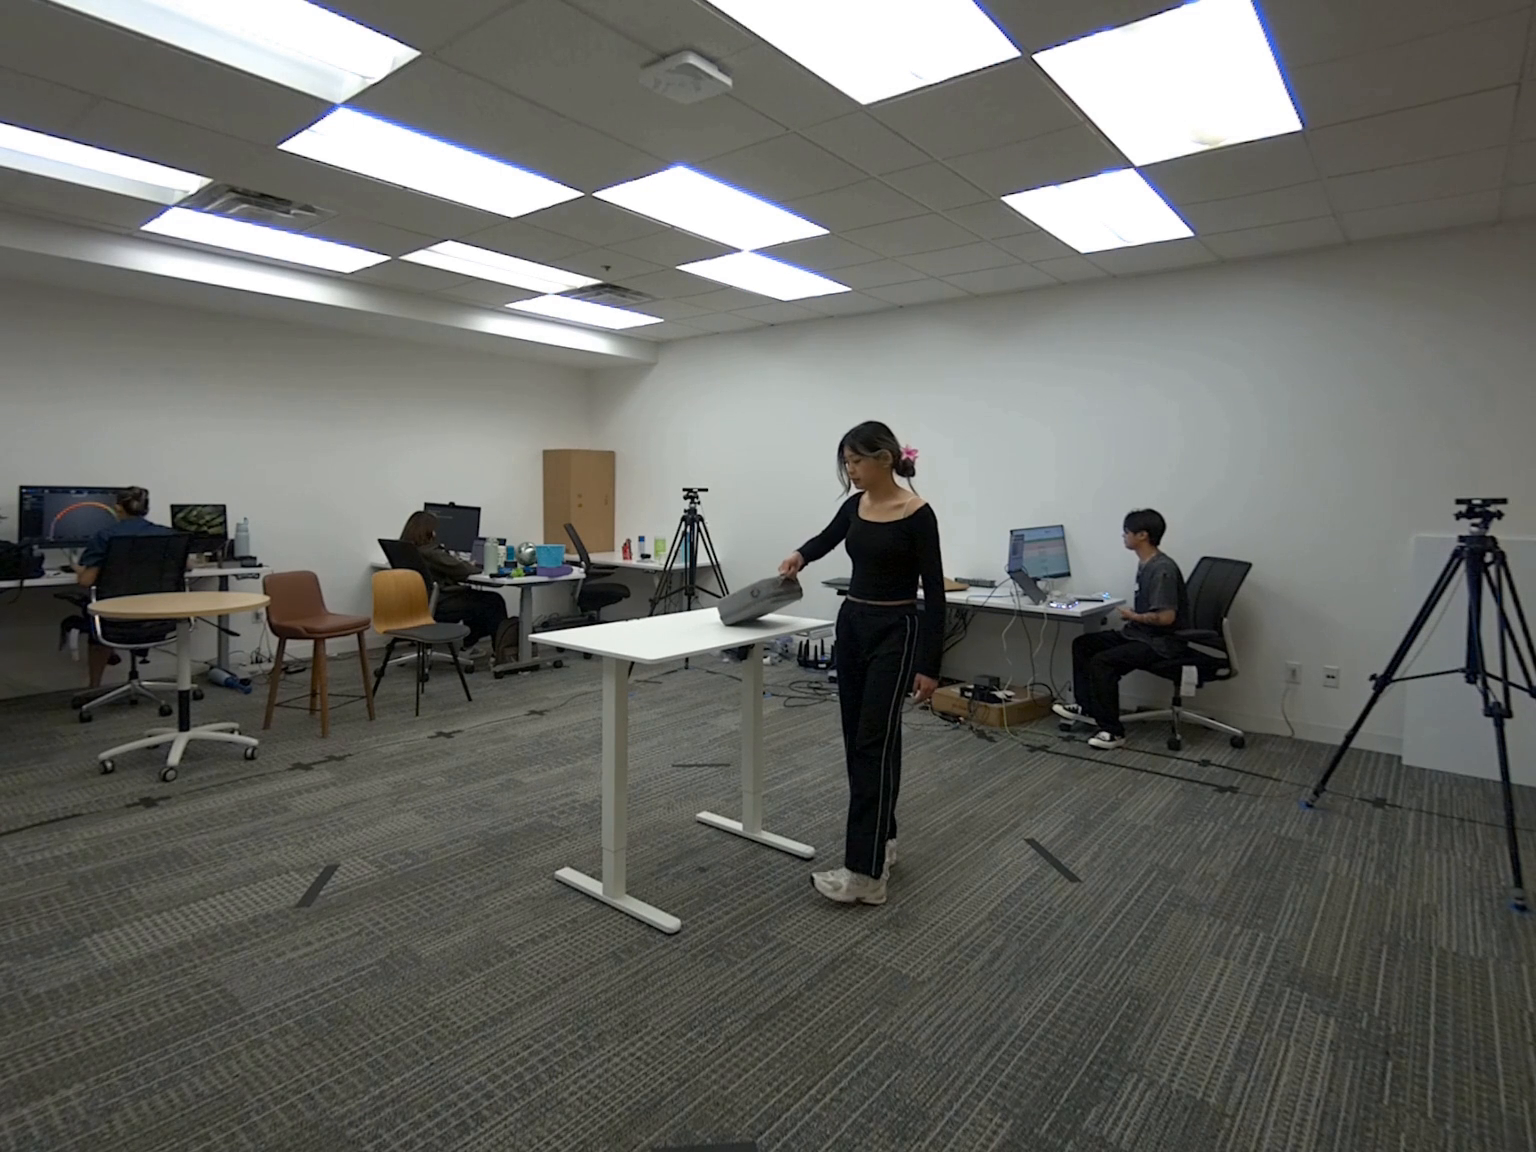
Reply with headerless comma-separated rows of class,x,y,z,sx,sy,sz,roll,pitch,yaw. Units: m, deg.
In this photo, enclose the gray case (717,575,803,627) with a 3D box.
gray case,-0.042,0.085,3.193,0.264,0.106,0.250,-25,-11,31
